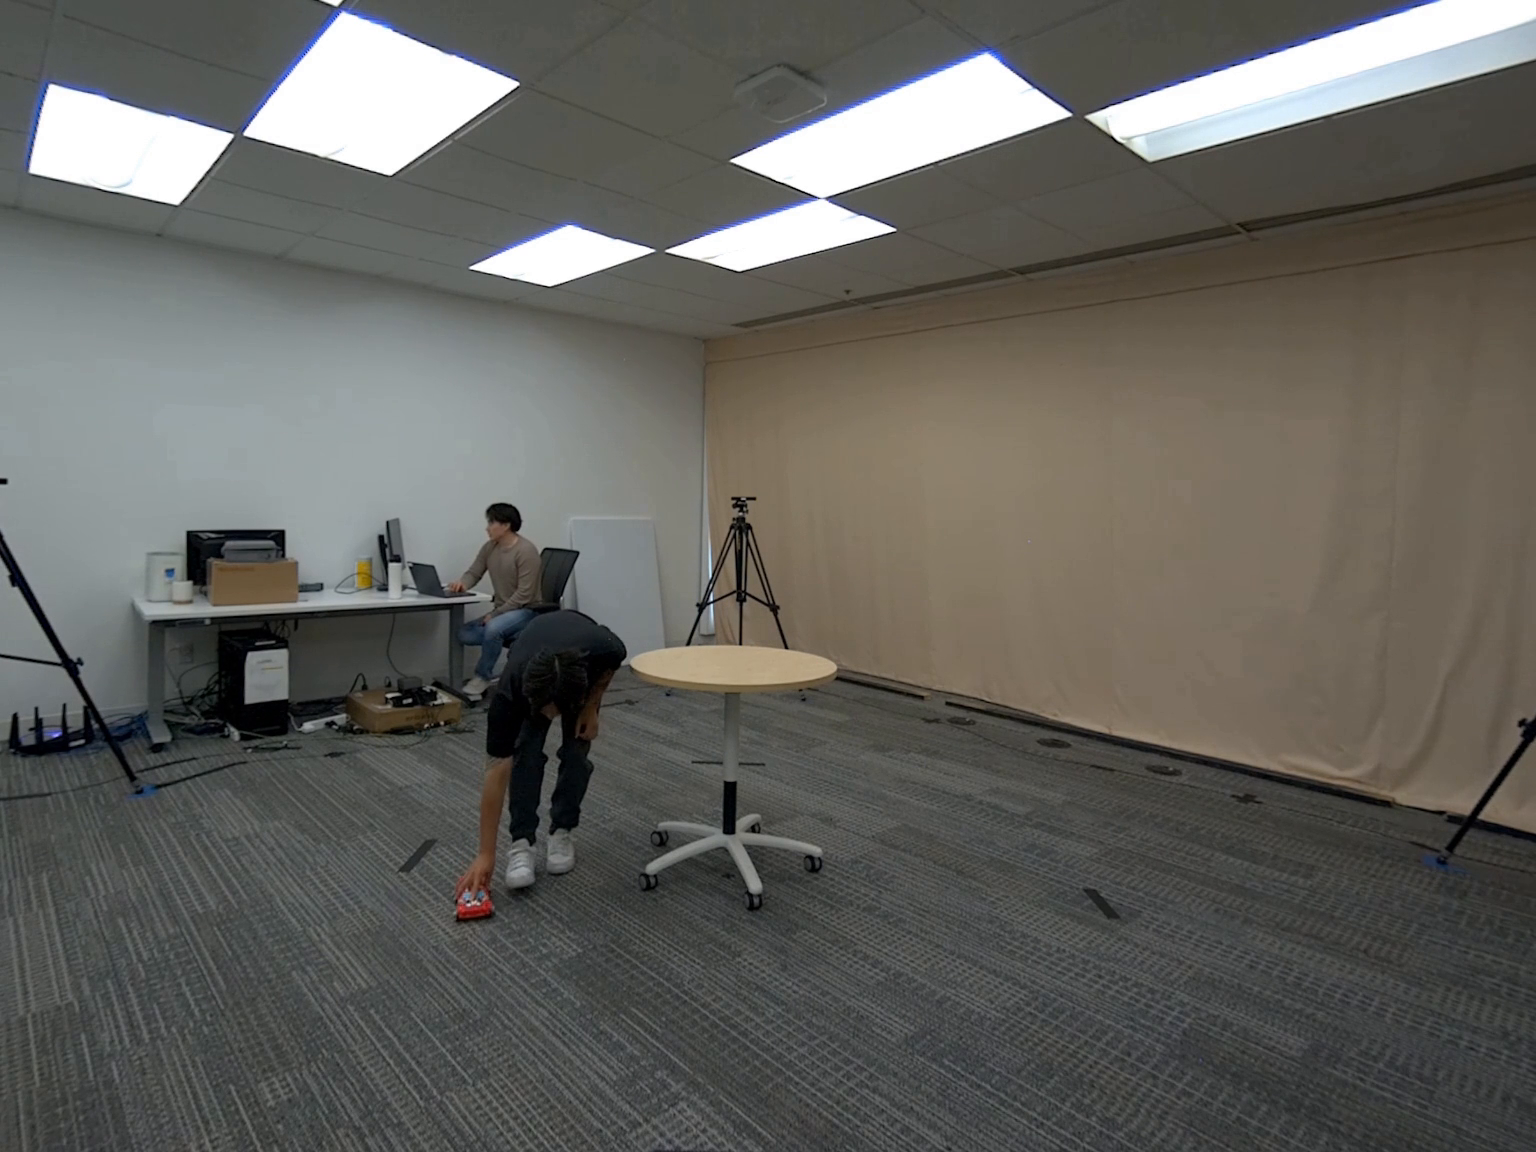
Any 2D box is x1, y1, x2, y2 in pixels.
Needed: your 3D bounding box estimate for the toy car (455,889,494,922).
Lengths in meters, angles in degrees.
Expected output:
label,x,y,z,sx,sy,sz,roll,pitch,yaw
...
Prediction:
label,x,y,z,sx,sy,sz,roll,pitch,yaw
toy car,-1.006,1.085,2.839,0.128,0.082,0.260,0,16,-18
